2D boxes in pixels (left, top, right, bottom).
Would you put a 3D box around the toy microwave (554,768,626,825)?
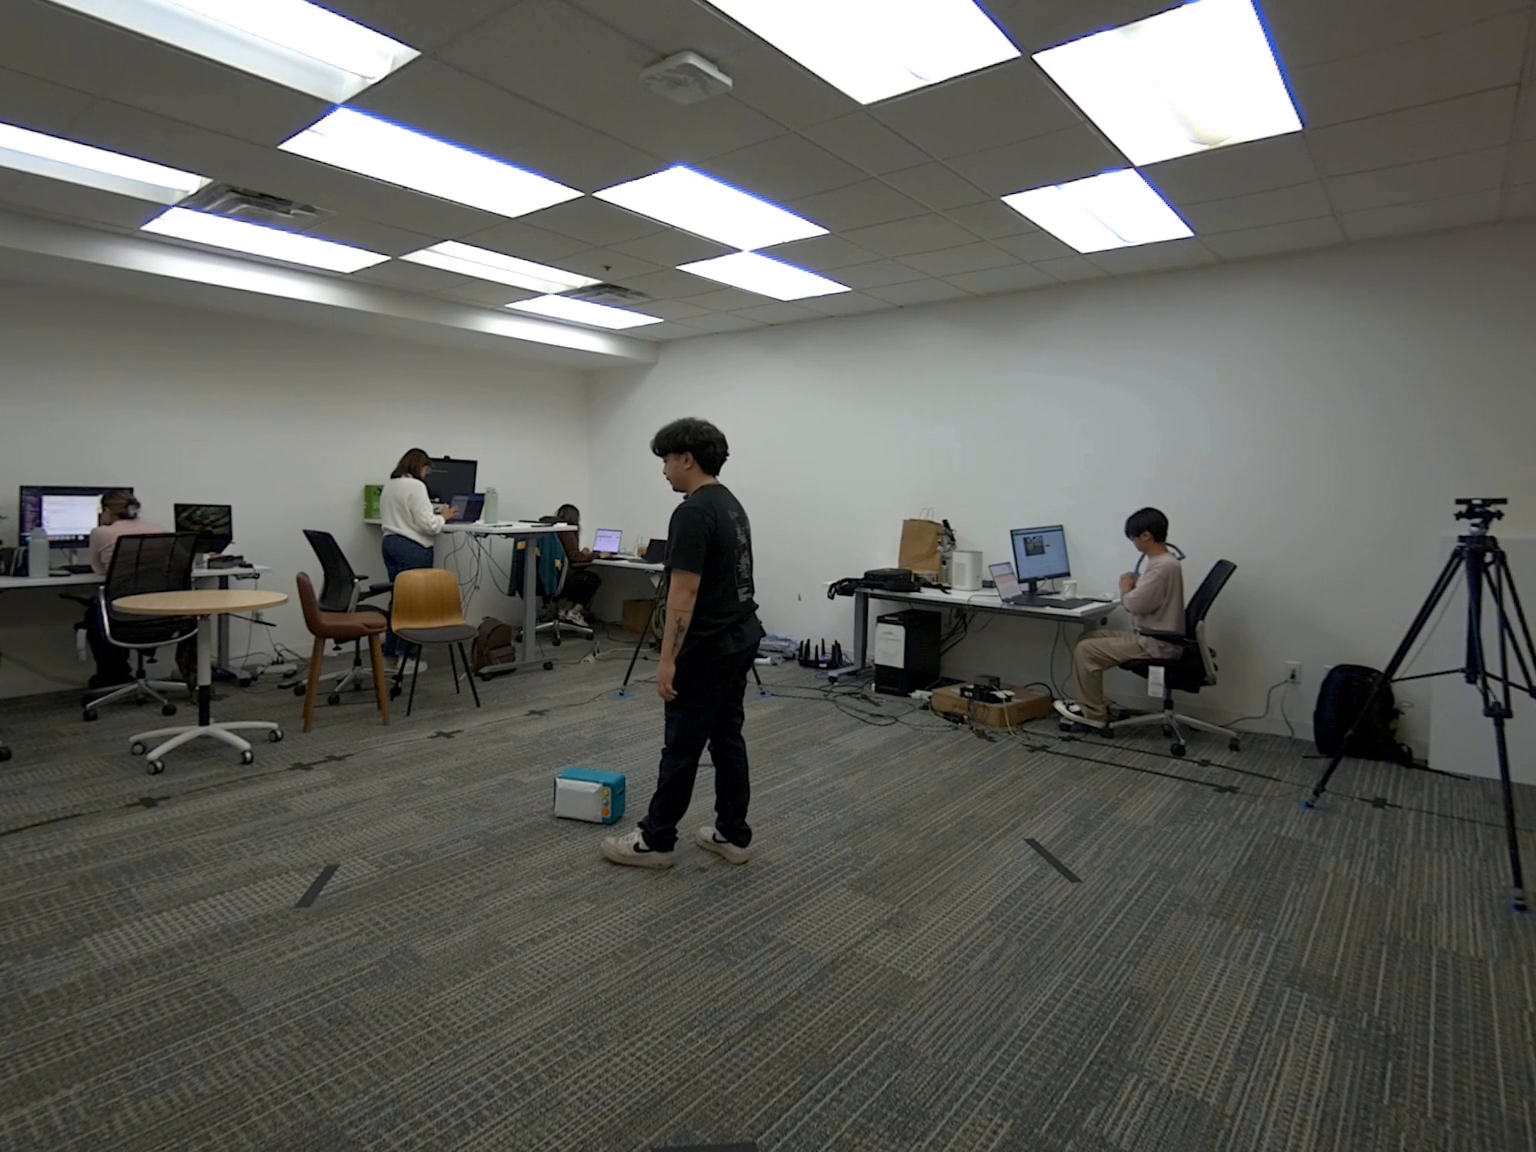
[{"bbox_3d":[-0.765,0.923,3.580,0.291,0.183,0.150,2,4,17],"label":"toy microwave"}]
